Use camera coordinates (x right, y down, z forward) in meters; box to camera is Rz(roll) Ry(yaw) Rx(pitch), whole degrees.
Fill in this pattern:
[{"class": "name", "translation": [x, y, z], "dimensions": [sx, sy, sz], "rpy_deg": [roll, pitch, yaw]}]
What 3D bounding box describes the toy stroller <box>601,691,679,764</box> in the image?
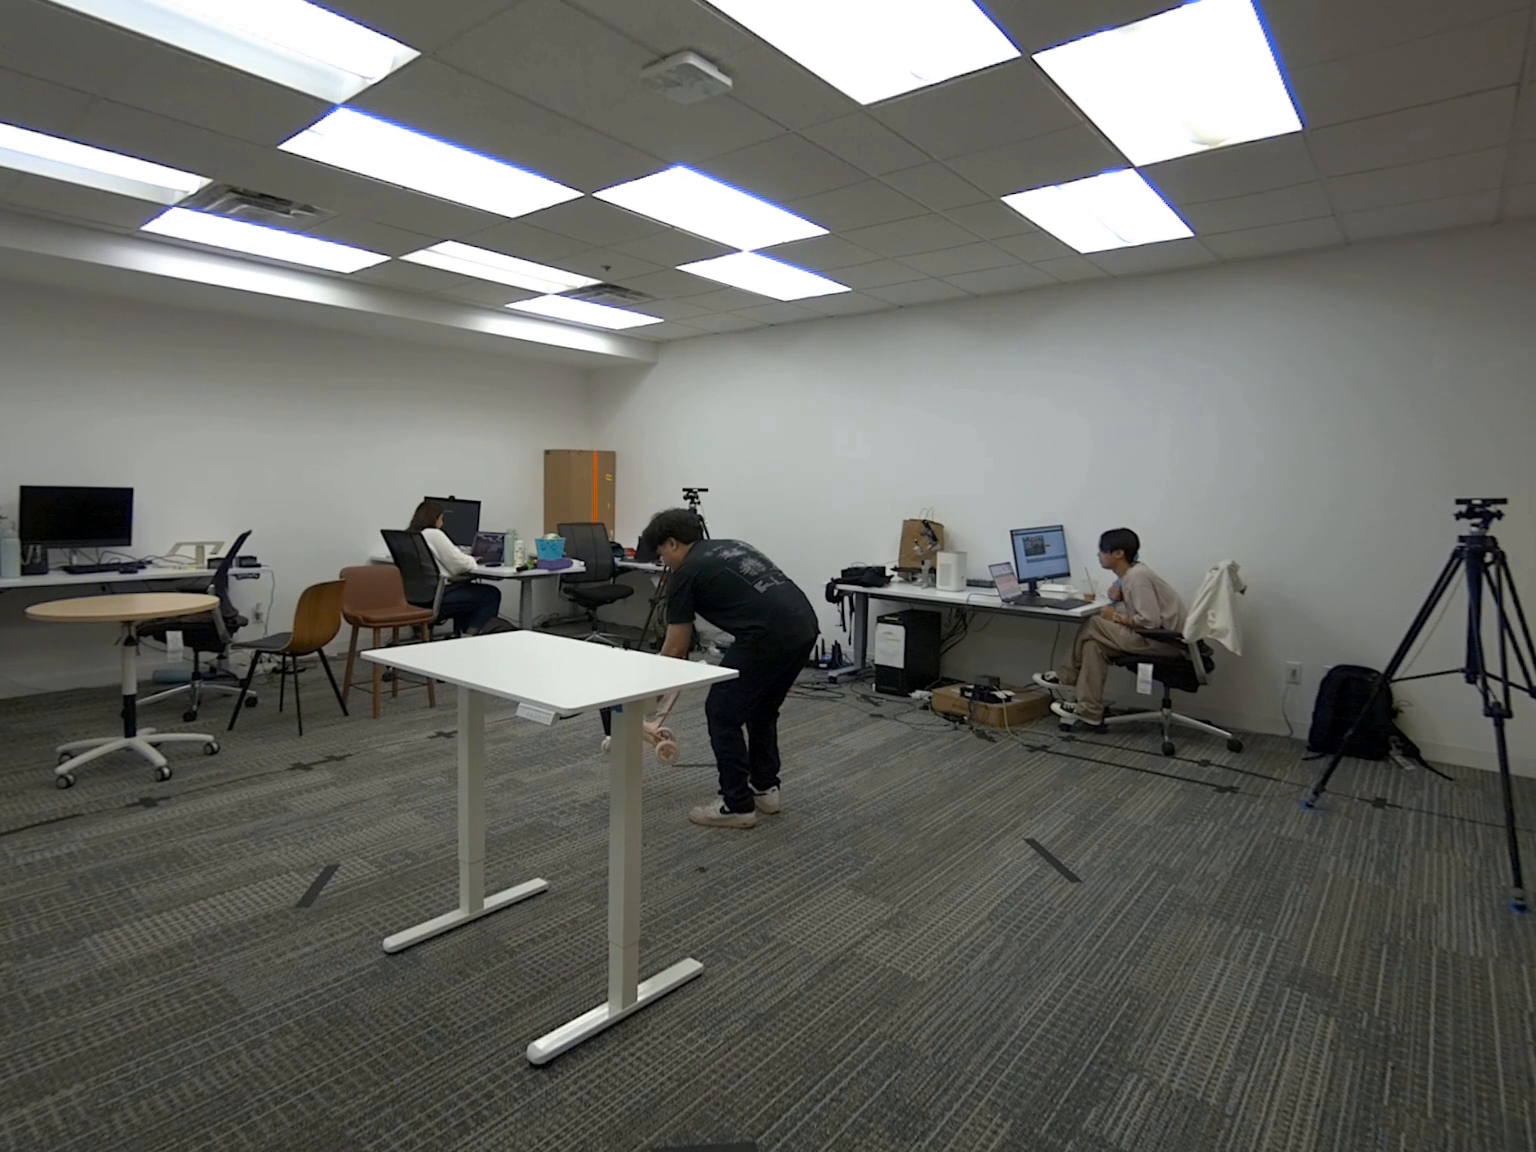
[{"class": "toy stroller", "translation": [-0.538, 0.587, 3.883], "dimensions": [0.340, 0.535, 0.282], "rpy_deg": [19, -2, -3]}]
